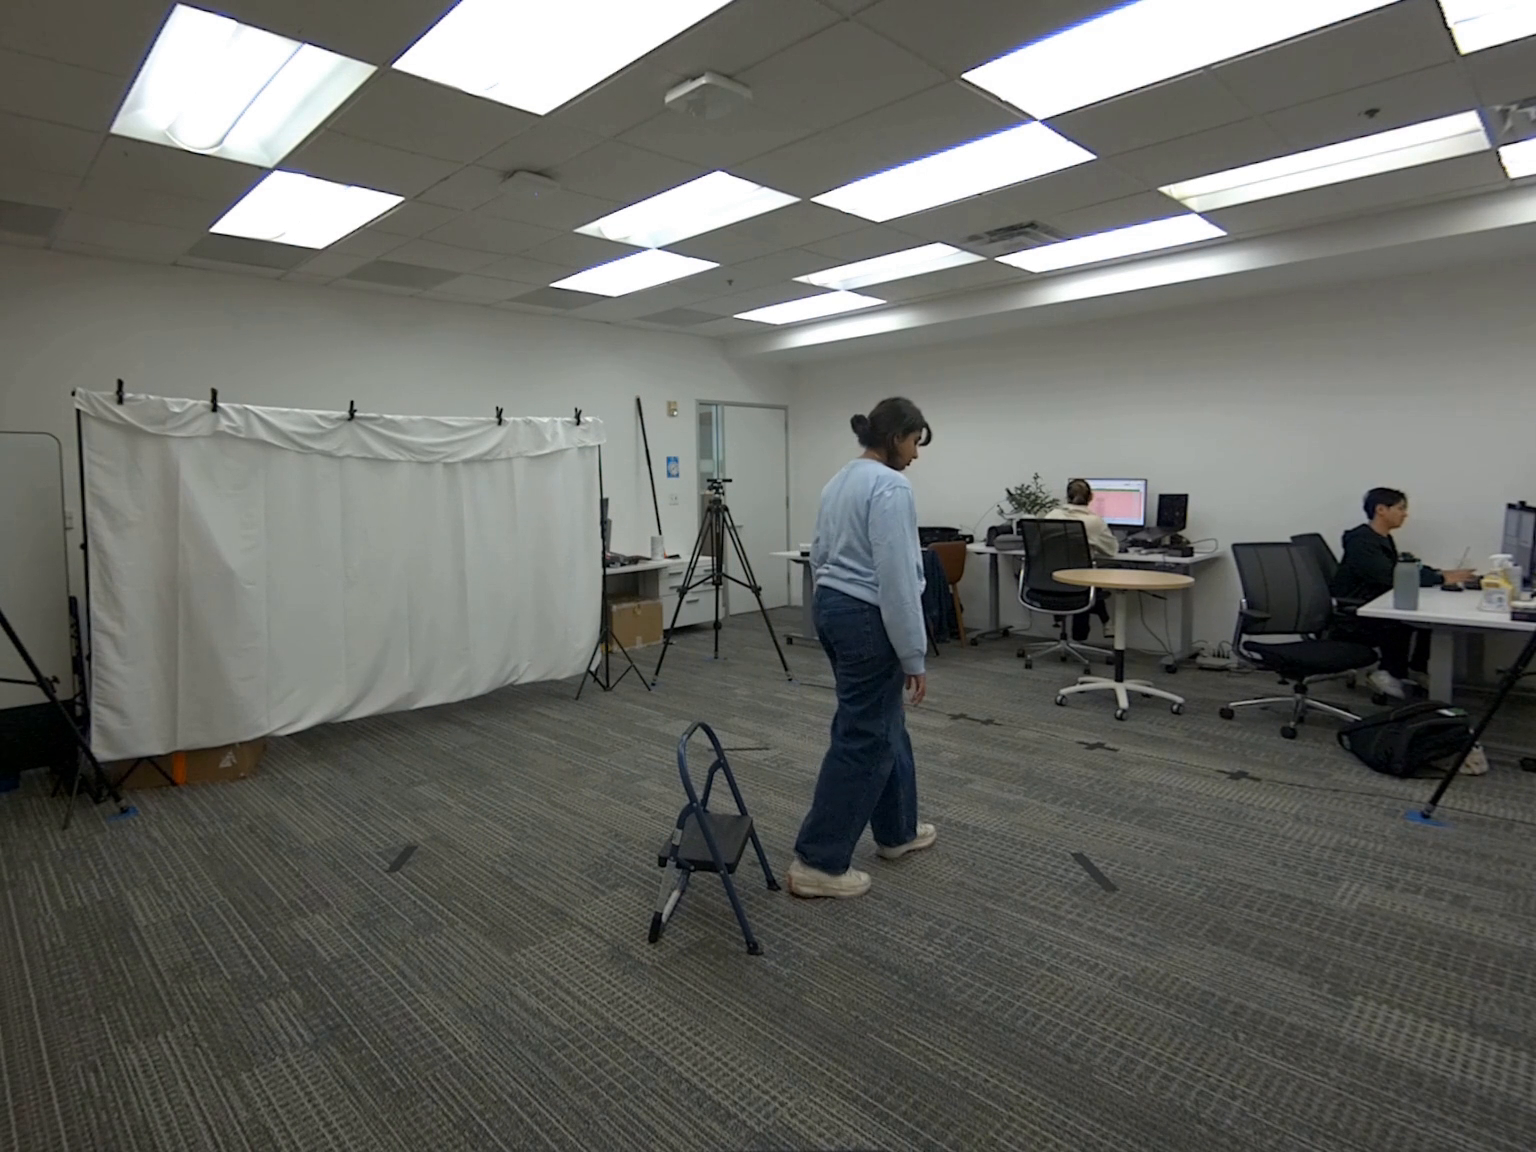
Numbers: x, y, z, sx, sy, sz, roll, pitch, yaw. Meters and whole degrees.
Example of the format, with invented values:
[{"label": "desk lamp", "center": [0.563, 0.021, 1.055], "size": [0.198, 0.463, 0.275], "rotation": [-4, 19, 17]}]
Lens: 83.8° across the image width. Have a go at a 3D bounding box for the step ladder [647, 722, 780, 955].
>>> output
[{"label": "step ladder", "center": [-0.167, 0.789, 2.726], "size": [0.353, 0.604, 0.428], "rotation": [0, 5, 10]}]
